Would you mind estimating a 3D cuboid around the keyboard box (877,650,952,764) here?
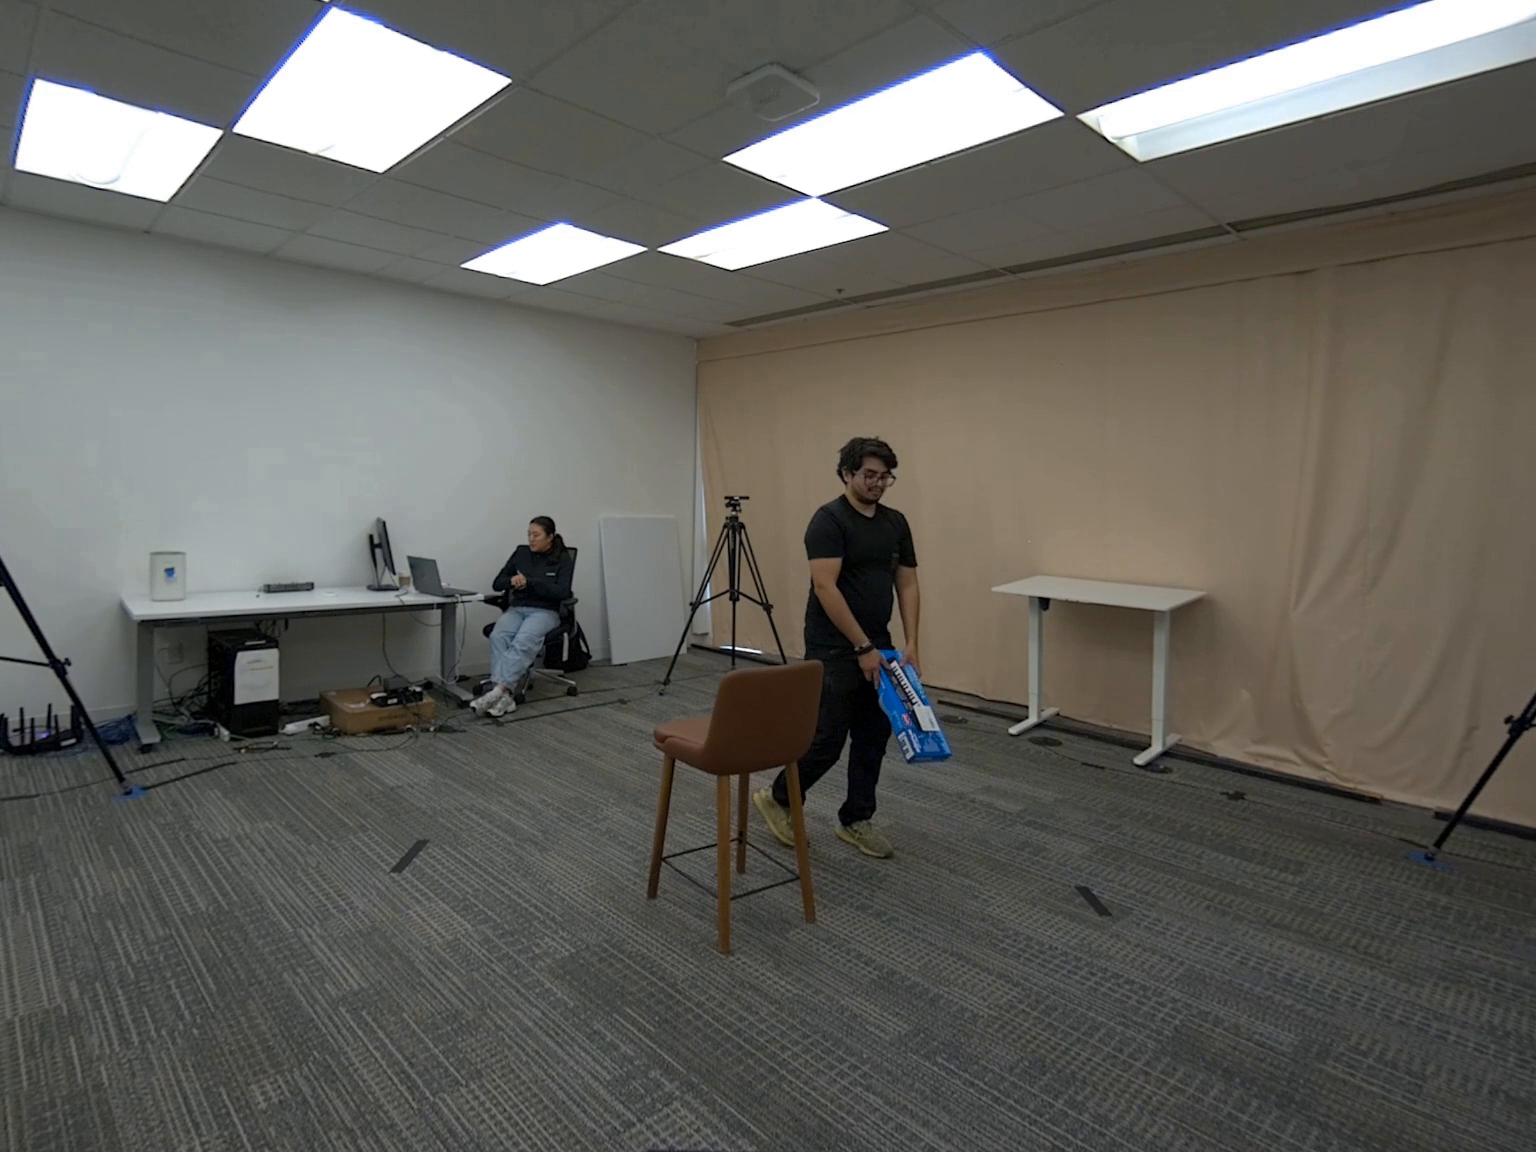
[{"bbox_3d":[0.498,0.477,3.088,0.172,0.449,0.059,6,-42,-30],"label":"keyboard box"}]
